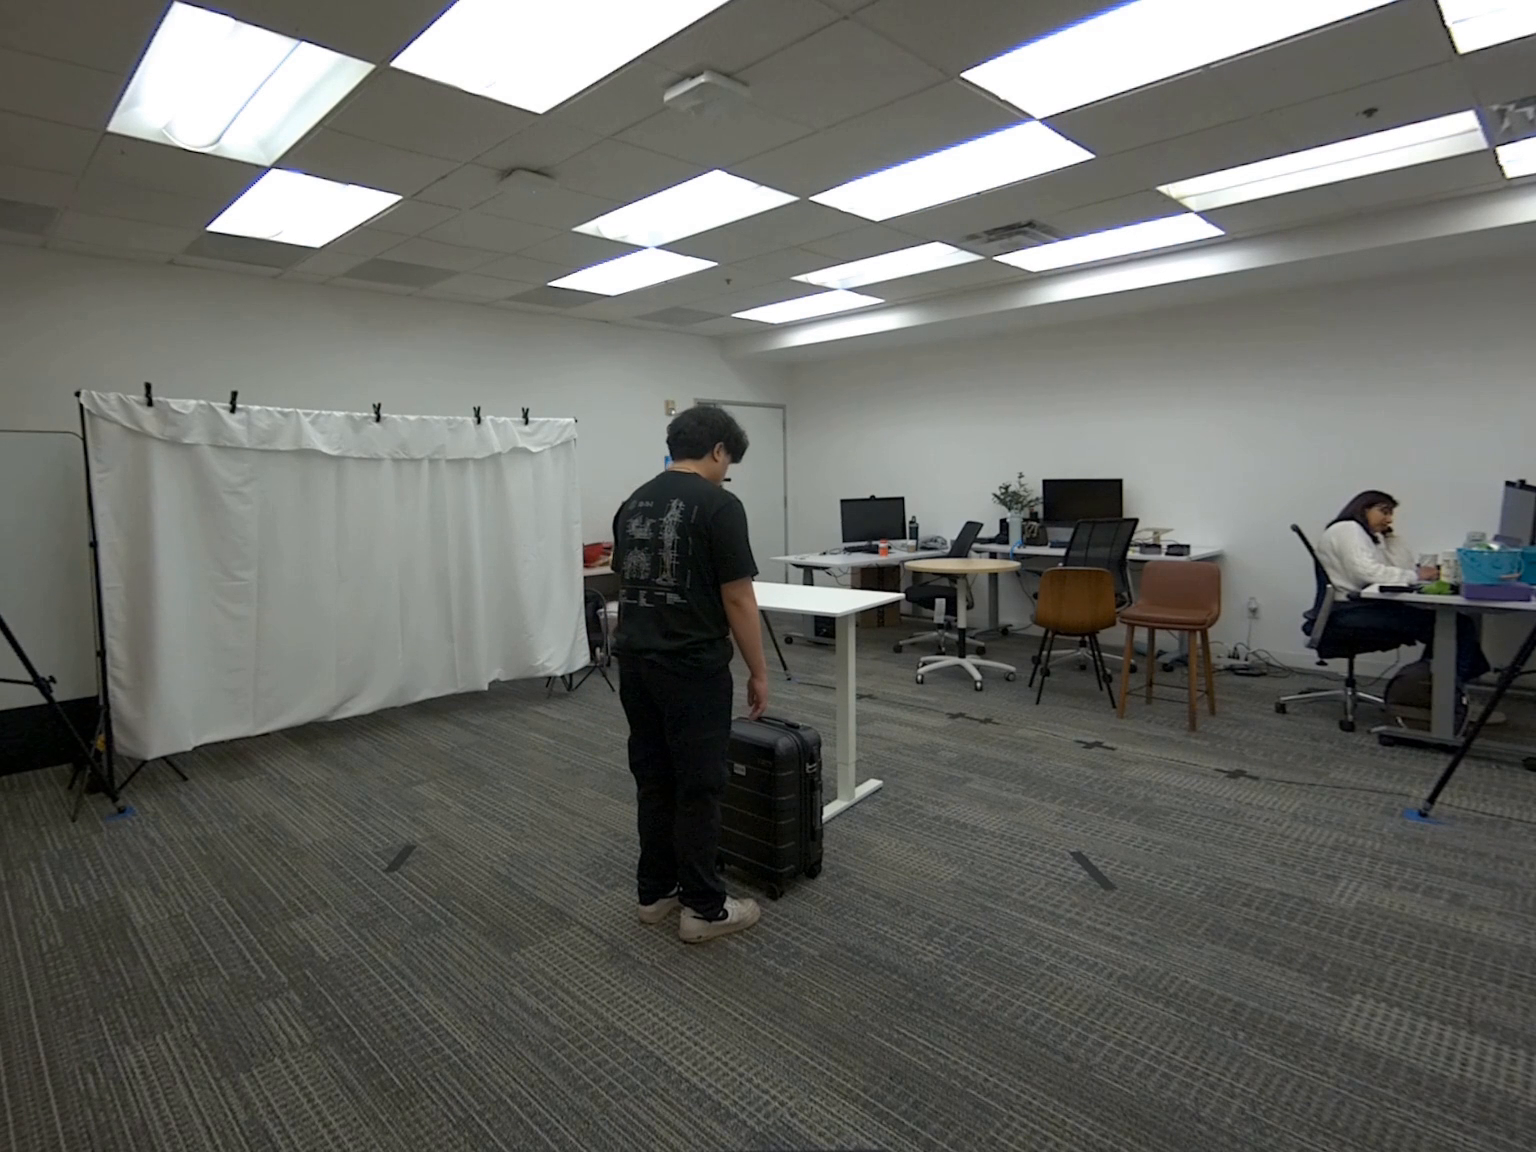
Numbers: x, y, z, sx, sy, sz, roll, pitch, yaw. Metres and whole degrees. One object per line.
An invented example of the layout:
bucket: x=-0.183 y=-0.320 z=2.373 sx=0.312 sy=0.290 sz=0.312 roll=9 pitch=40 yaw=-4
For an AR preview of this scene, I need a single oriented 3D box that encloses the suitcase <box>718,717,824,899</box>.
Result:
suitcase: x=-0.001 y=0.782 z=2.991 sx=0.387 sy=0.547 sz=0.242 roll=3 pitch=5 yaw=43
